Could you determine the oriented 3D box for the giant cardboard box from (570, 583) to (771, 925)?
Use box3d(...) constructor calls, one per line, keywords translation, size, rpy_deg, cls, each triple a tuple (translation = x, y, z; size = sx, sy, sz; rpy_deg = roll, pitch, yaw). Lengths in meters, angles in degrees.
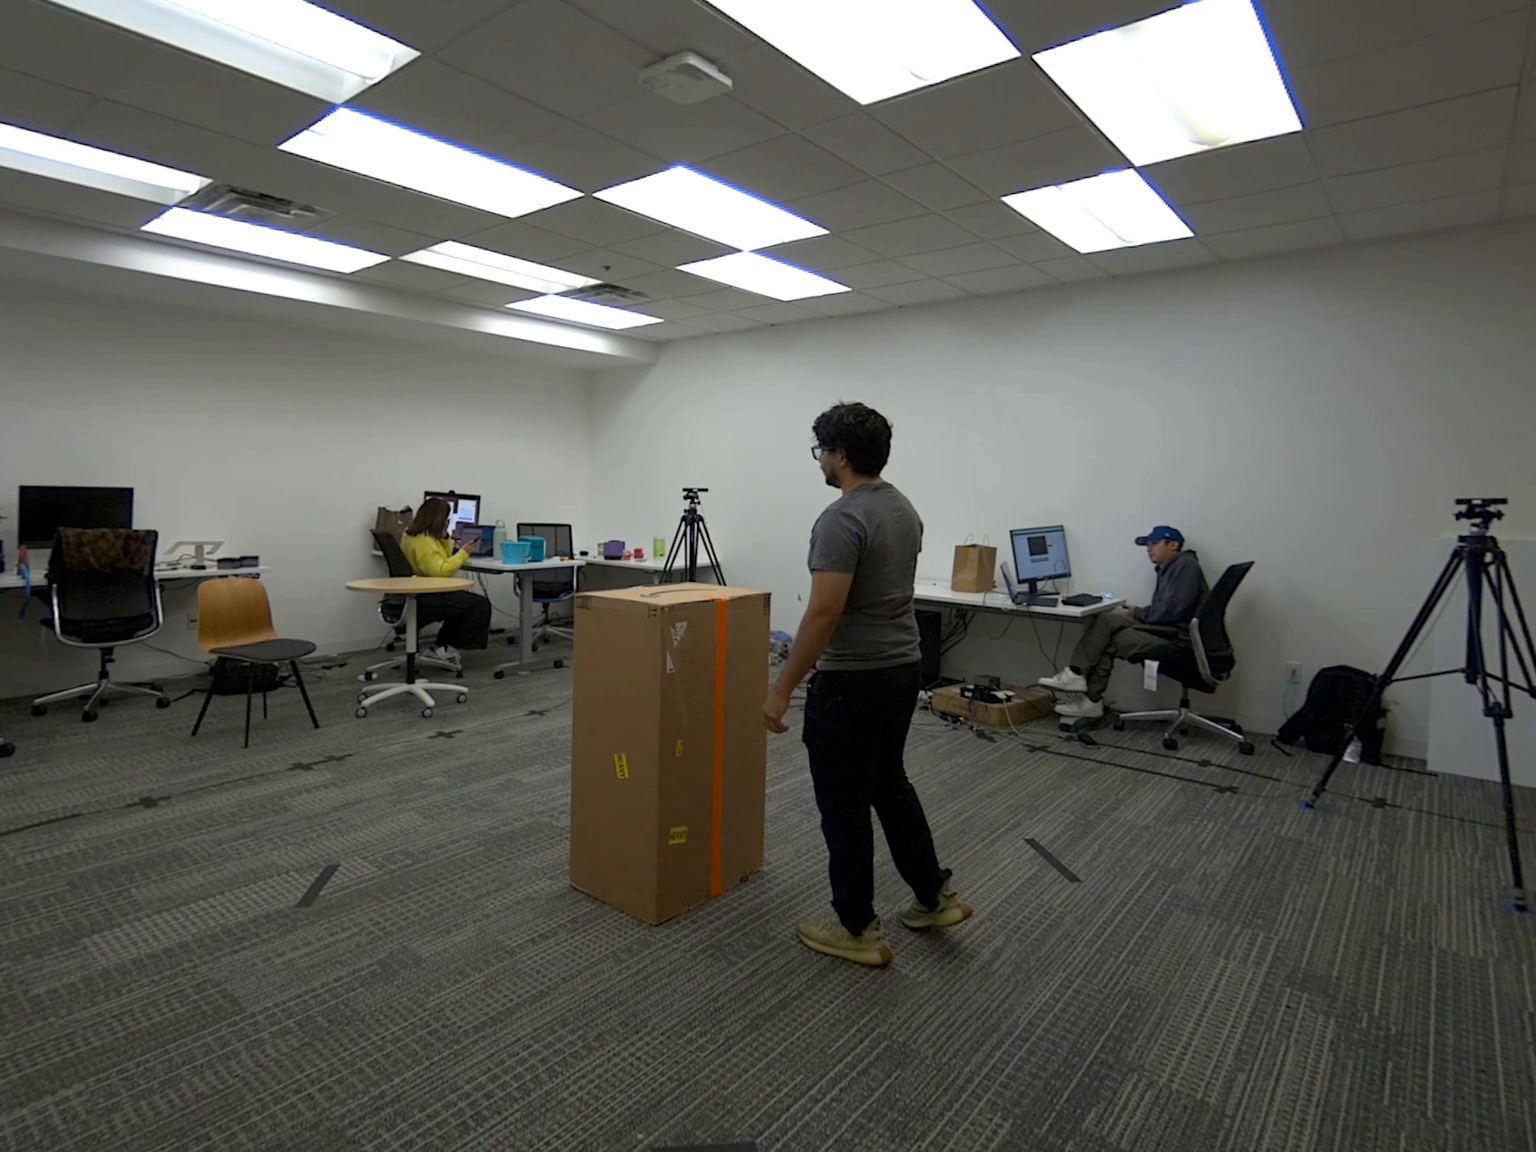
box3d(translation=(-0.347, 0.567, 3.017), size=(0.440, 1.023, 0.560), rpy_deg=(3, 4, 39), cls="giant cardboard box")
